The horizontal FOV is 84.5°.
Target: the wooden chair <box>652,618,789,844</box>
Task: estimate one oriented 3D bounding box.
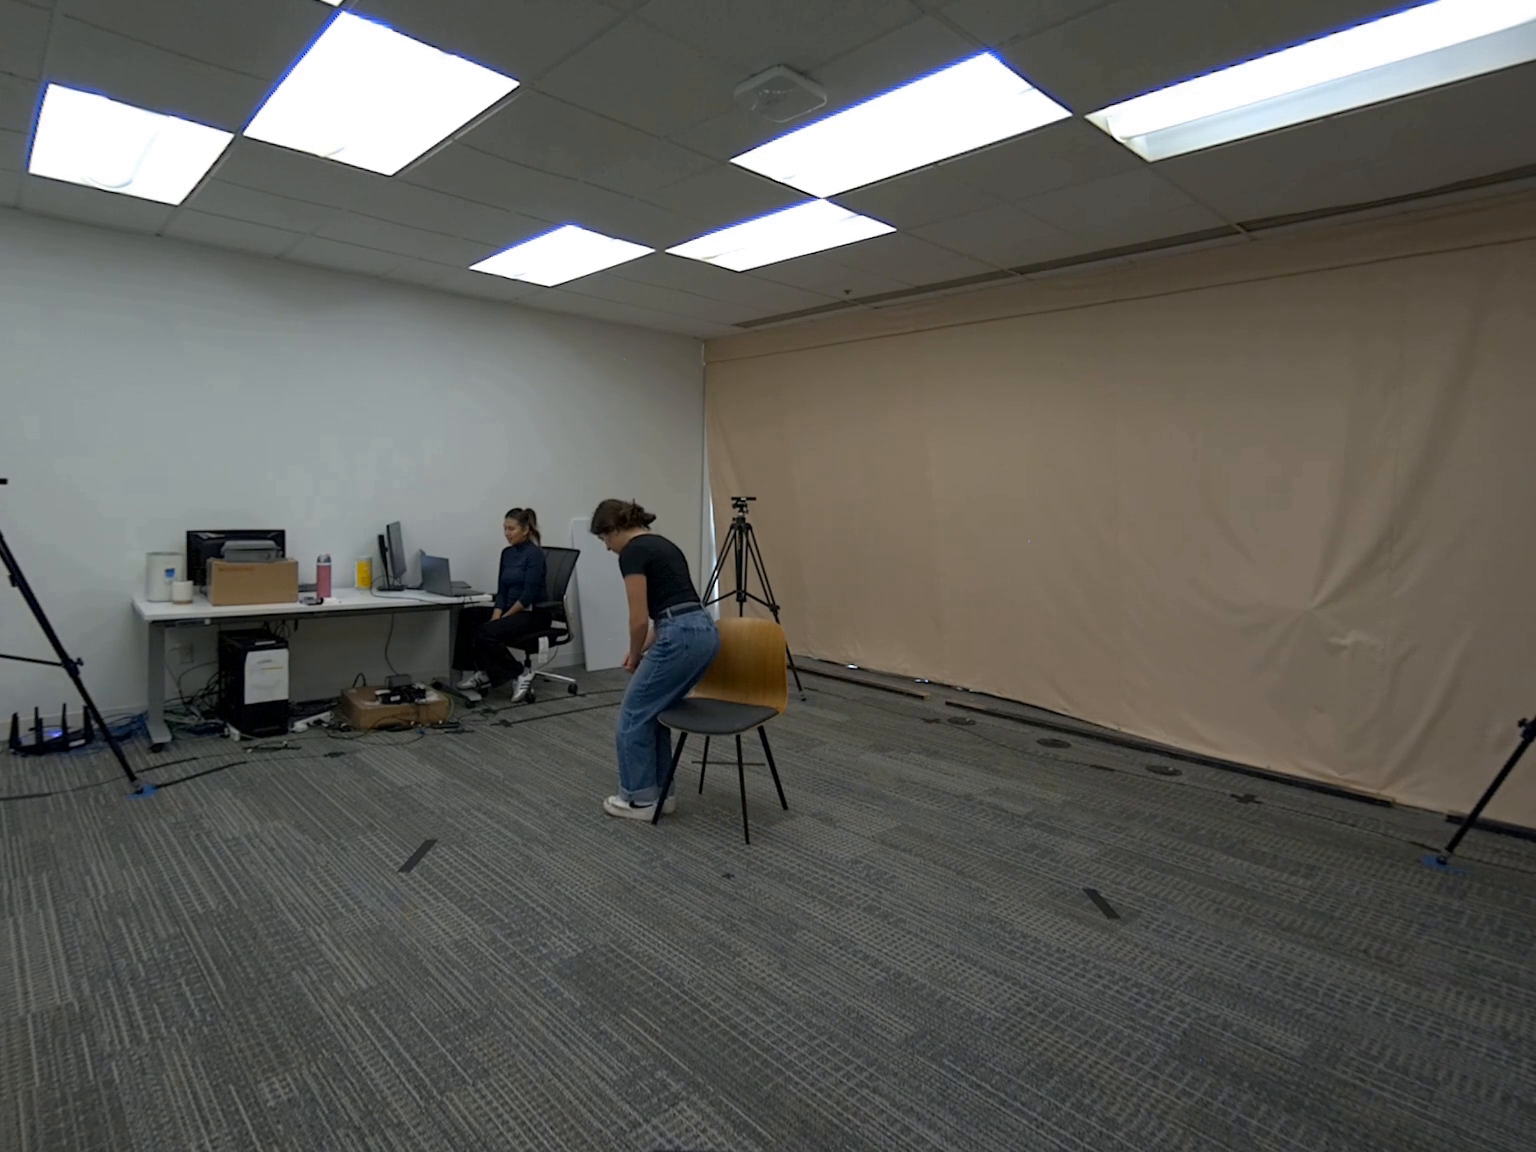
[{"bbox_3d":[-0.194,0.633,3.649,0.487,0.878,0.513,2,-1,23],"label":"wooden chair"}]
